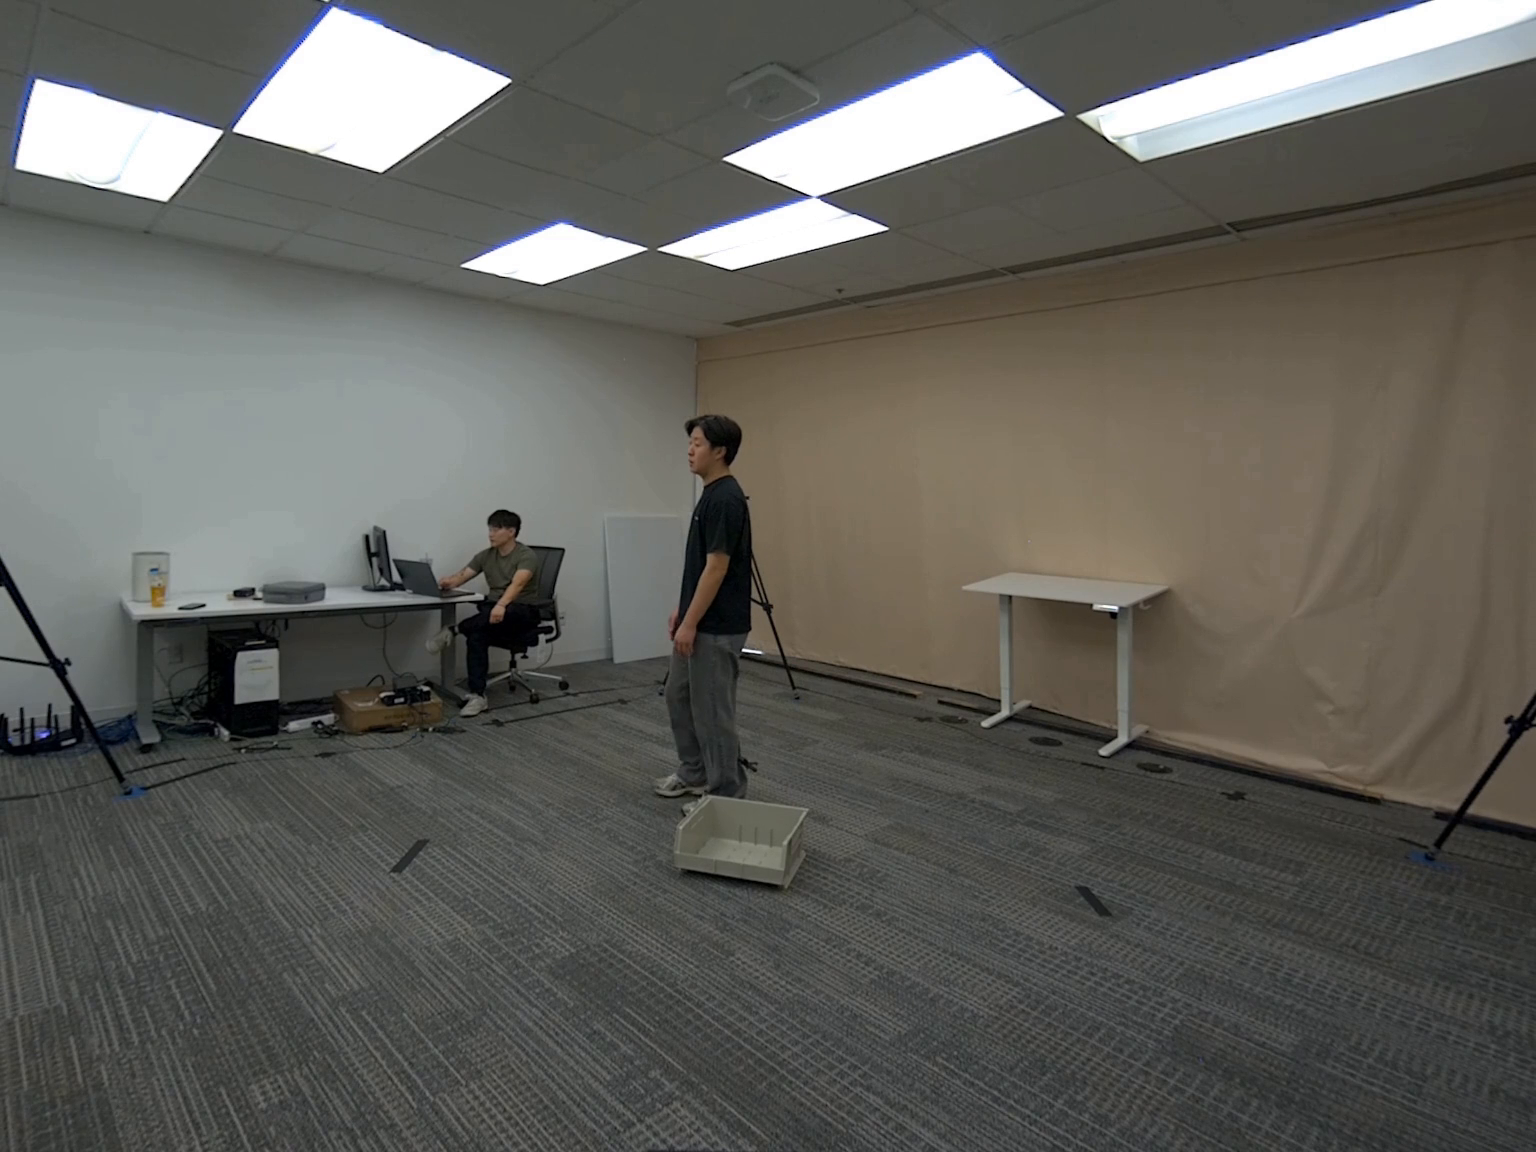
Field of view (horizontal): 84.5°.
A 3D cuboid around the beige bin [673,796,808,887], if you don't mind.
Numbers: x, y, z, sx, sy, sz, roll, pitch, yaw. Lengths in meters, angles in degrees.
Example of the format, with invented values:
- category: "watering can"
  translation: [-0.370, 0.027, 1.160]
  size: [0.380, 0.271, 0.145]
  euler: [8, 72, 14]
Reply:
- category: "beige bin"
  translation: [-0.098, 1.011, 3.188]
  size: [0.428, 0.188, 0.373]
  euler: [2, 4, 17]
